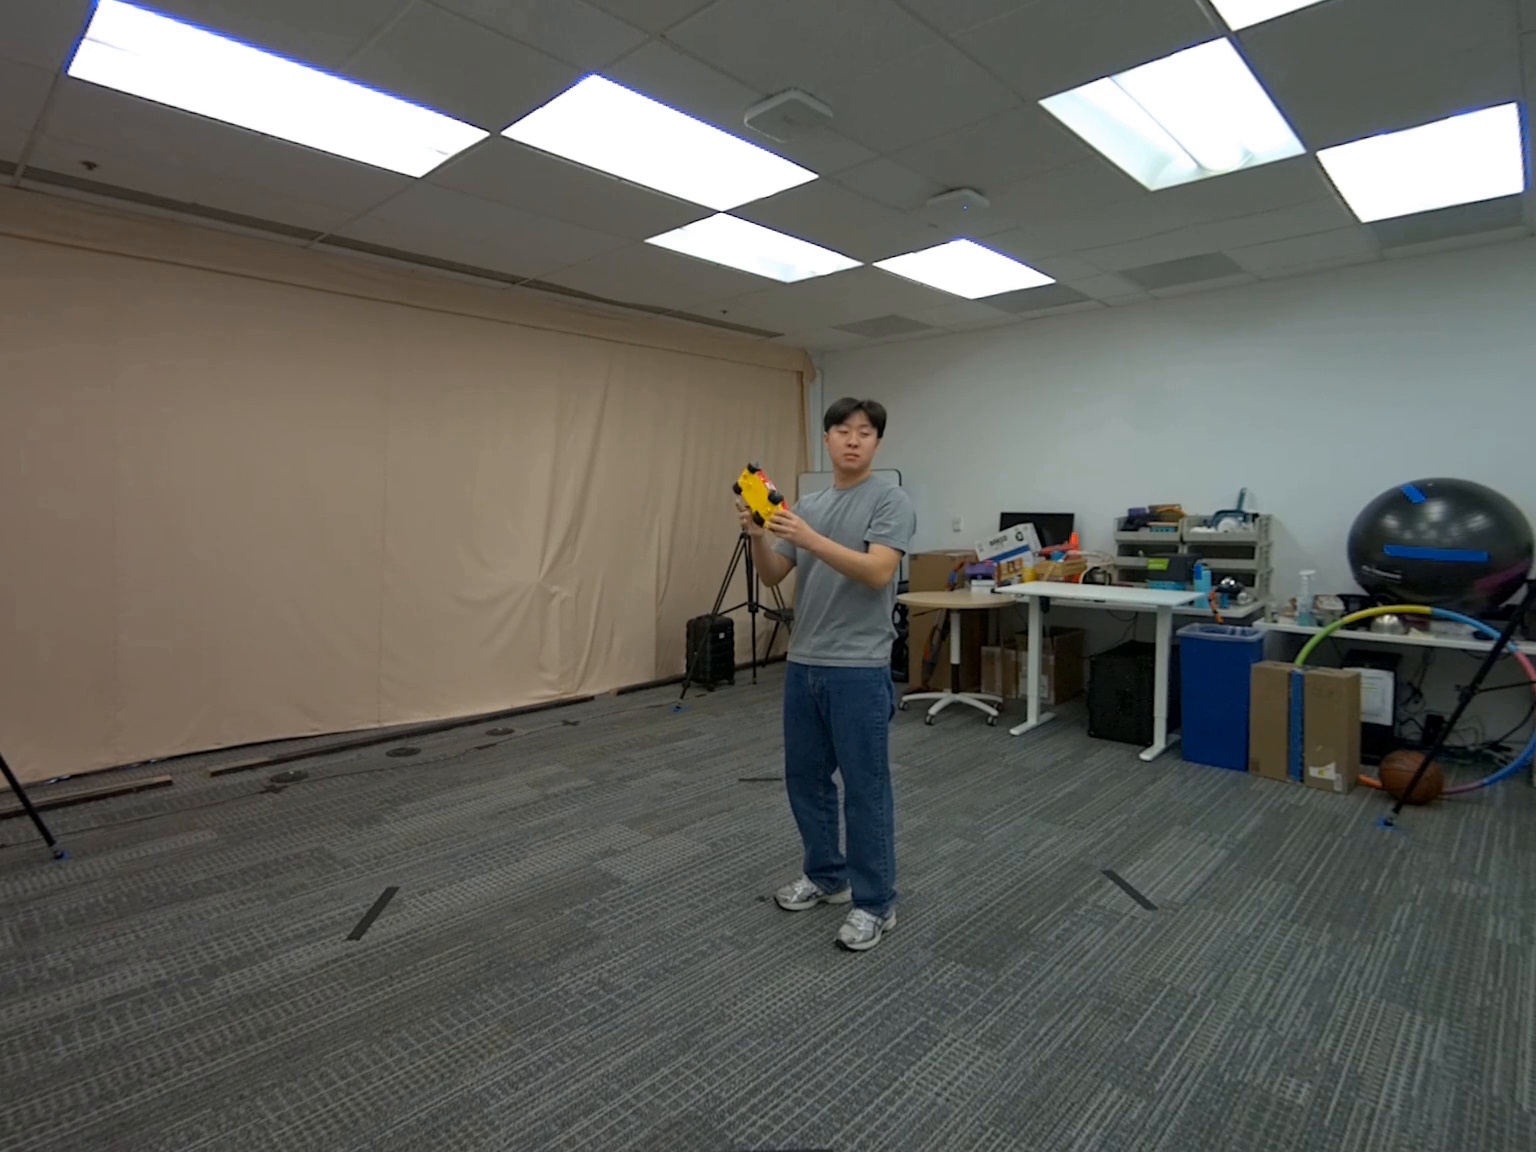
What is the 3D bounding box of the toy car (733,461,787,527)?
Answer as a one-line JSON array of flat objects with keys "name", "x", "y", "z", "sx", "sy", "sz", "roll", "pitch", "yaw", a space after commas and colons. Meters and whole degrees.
[{"name": "toy car", "x": -0.006, "y": -0.247, "z": 2.639, "sx": 0.081, "sy": 0.130, "sz": 0.261, "roll": -6, "pitch": 49, "yaw": -50}]
